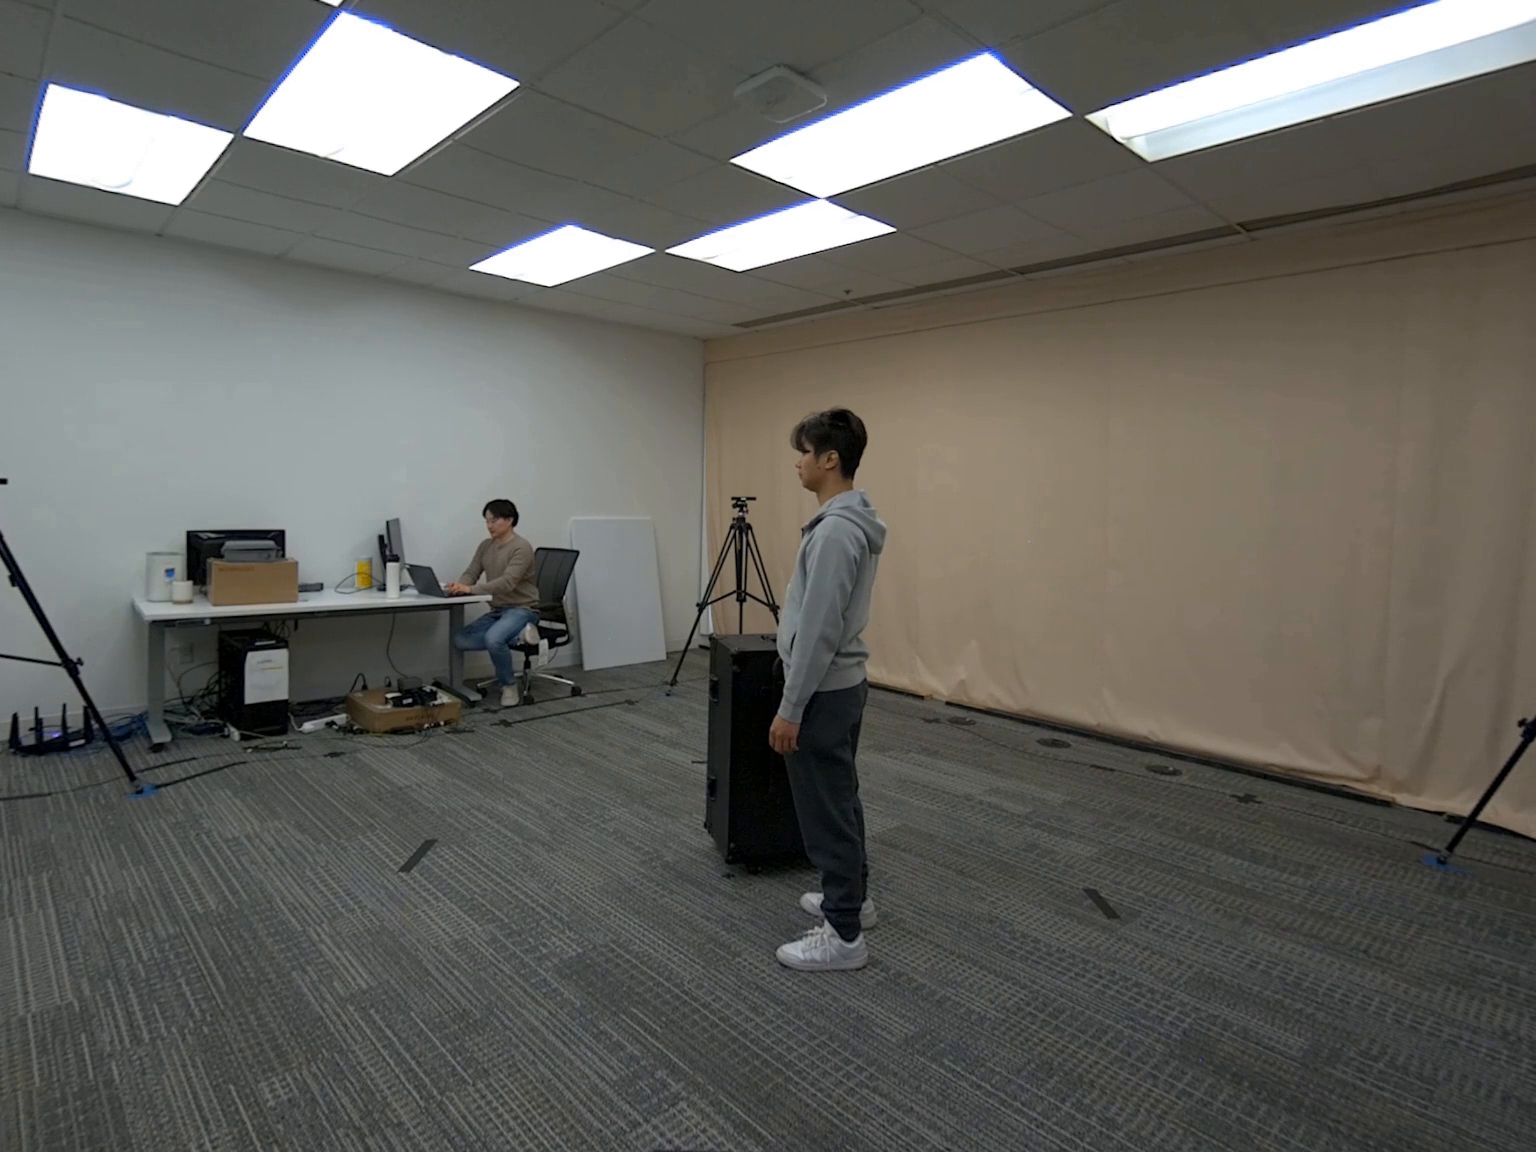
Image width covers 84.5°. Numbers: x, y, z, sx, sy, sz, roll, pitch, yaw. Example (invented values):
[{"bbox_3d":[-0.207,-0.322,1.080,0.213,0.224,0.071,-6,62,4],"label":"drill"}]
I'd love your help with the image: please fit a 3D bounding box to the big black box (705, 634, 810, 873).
[{"bbox_3d":[0.040,0.671,3.243,0.514,0.859,0.403,1,5,-17],"label":"big black box"}]
